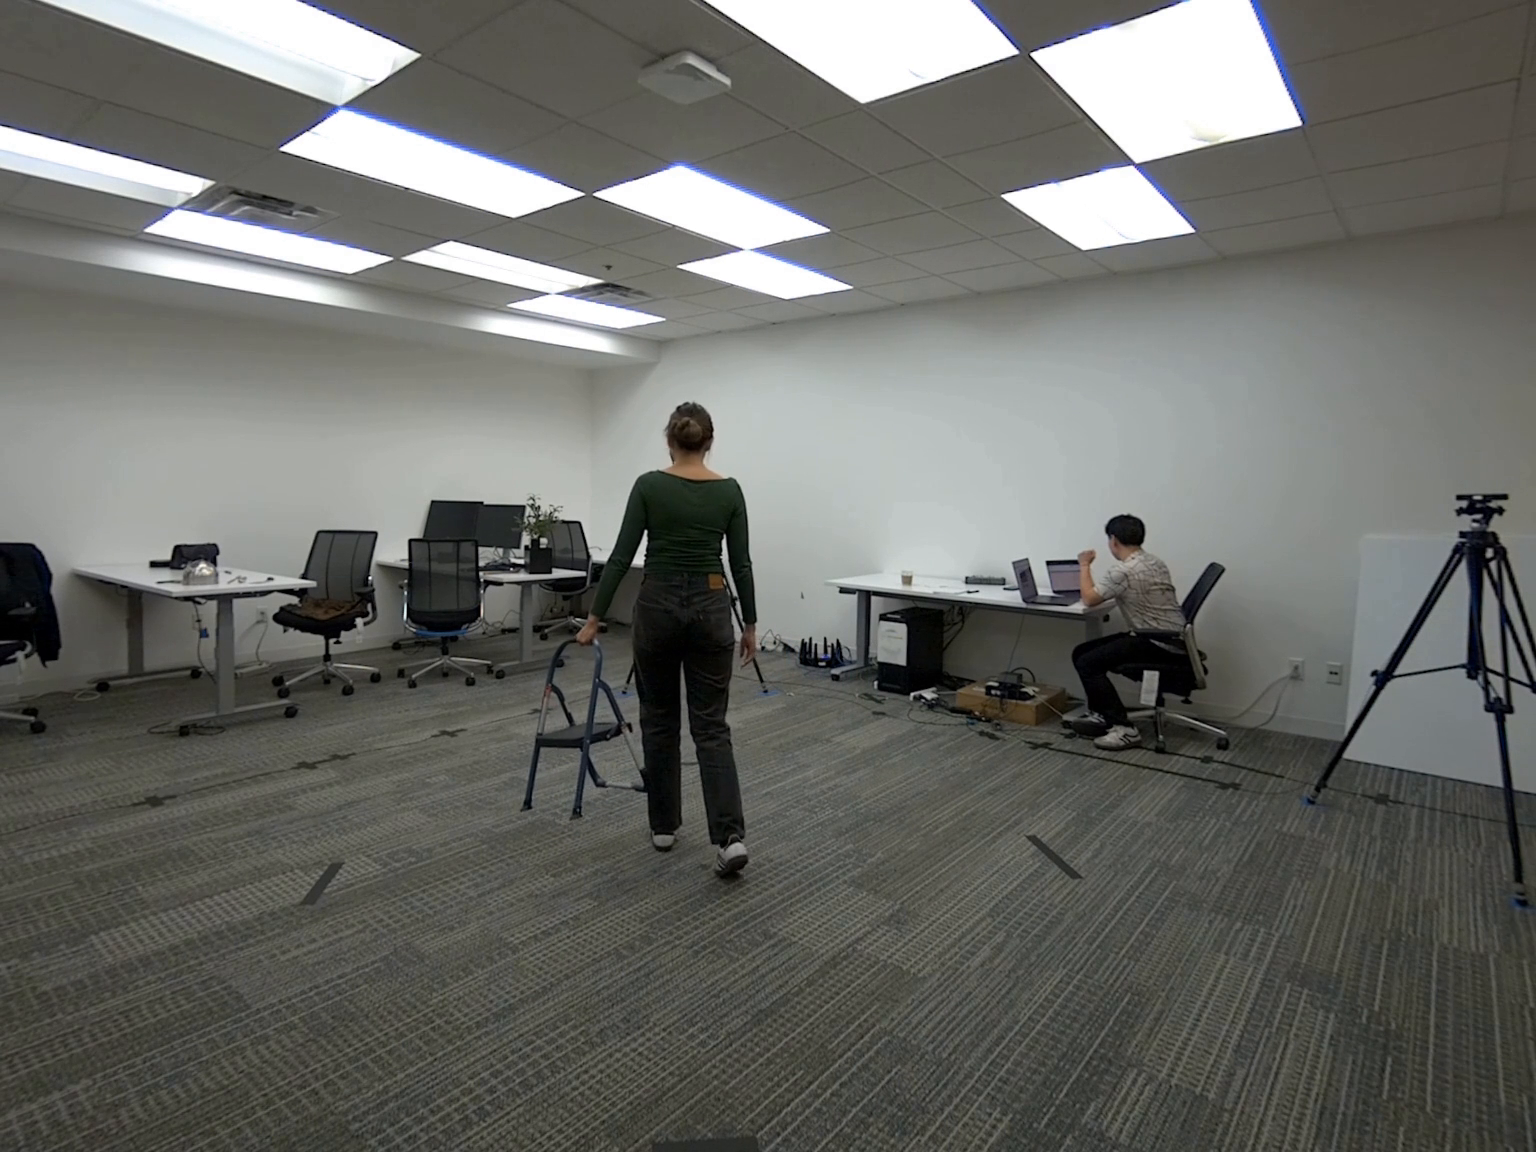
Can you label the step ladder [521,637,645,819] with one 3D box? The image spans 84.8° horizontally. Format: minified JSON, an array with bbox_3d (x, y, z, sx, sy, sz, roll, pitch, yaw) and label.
[{"bbox_3d":[-0.739,0.541,3.187,0.339,0.610,0.441,-5,-6,-42],"label":"step ladder"}]
